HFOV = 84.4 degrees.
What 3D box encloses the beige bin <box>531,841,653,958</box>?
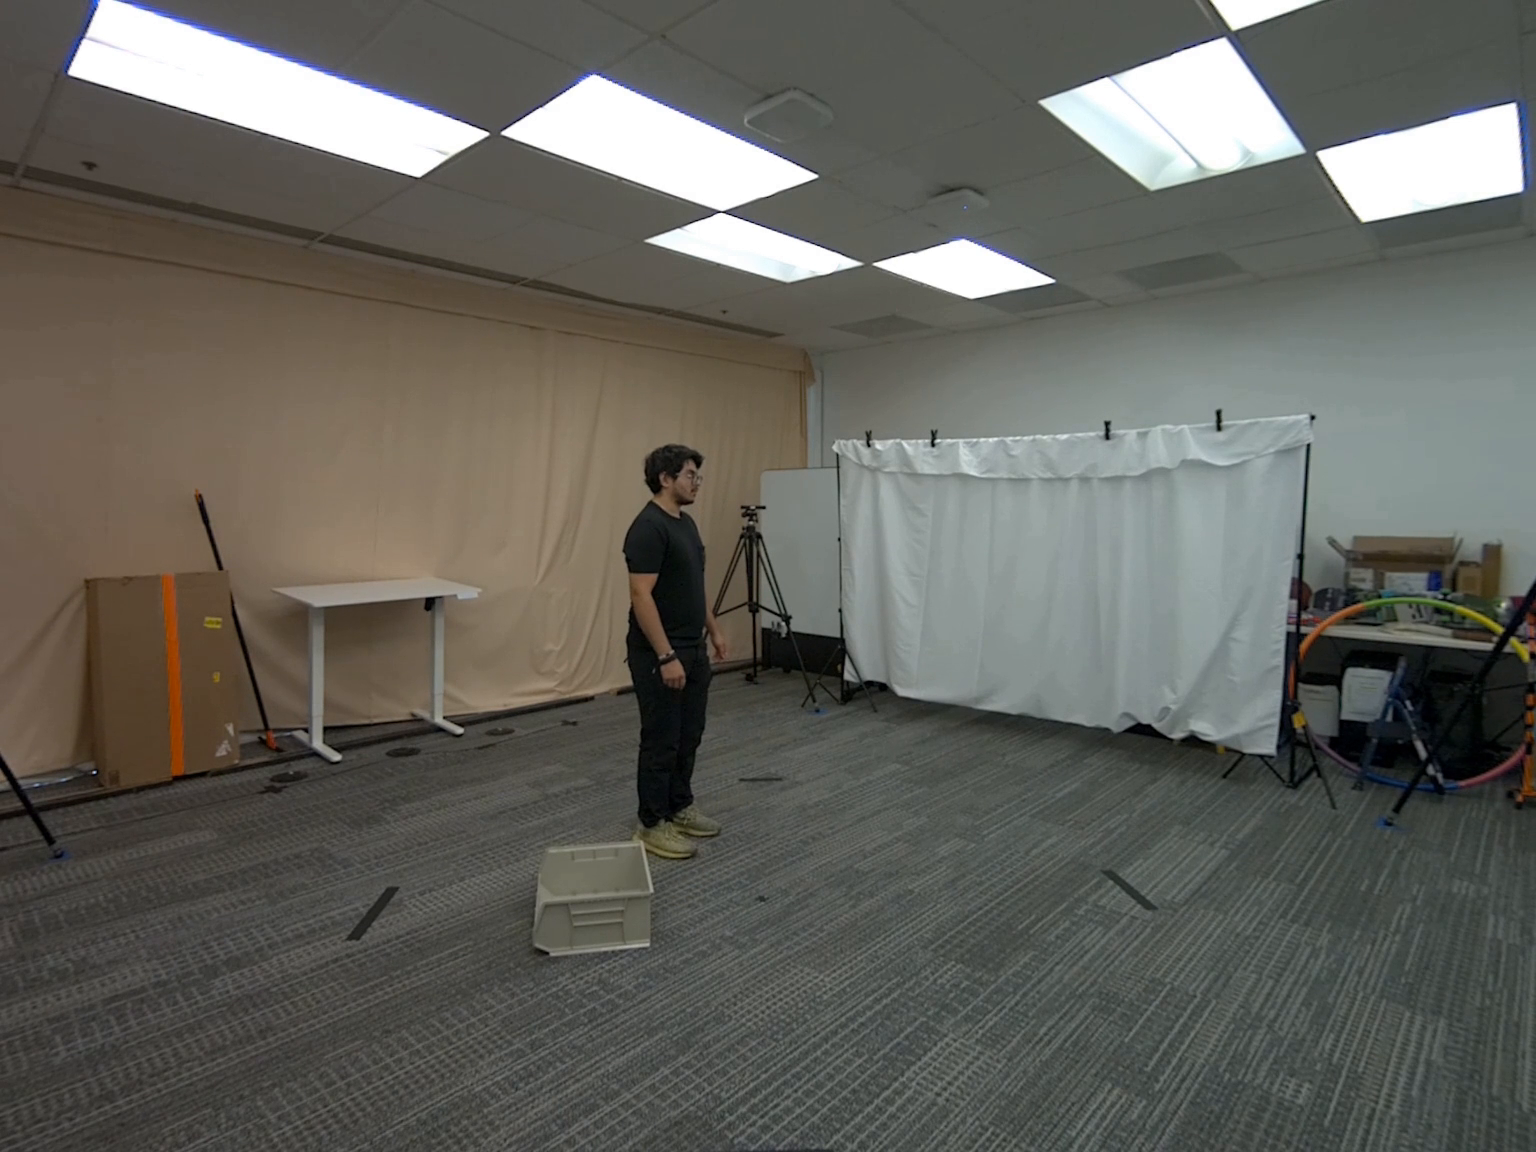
[{"bbox_3d":[-0.597,1.071,2.826,0.373,0.188,0.428,0,4,-11],"label":"beige bin"}]
